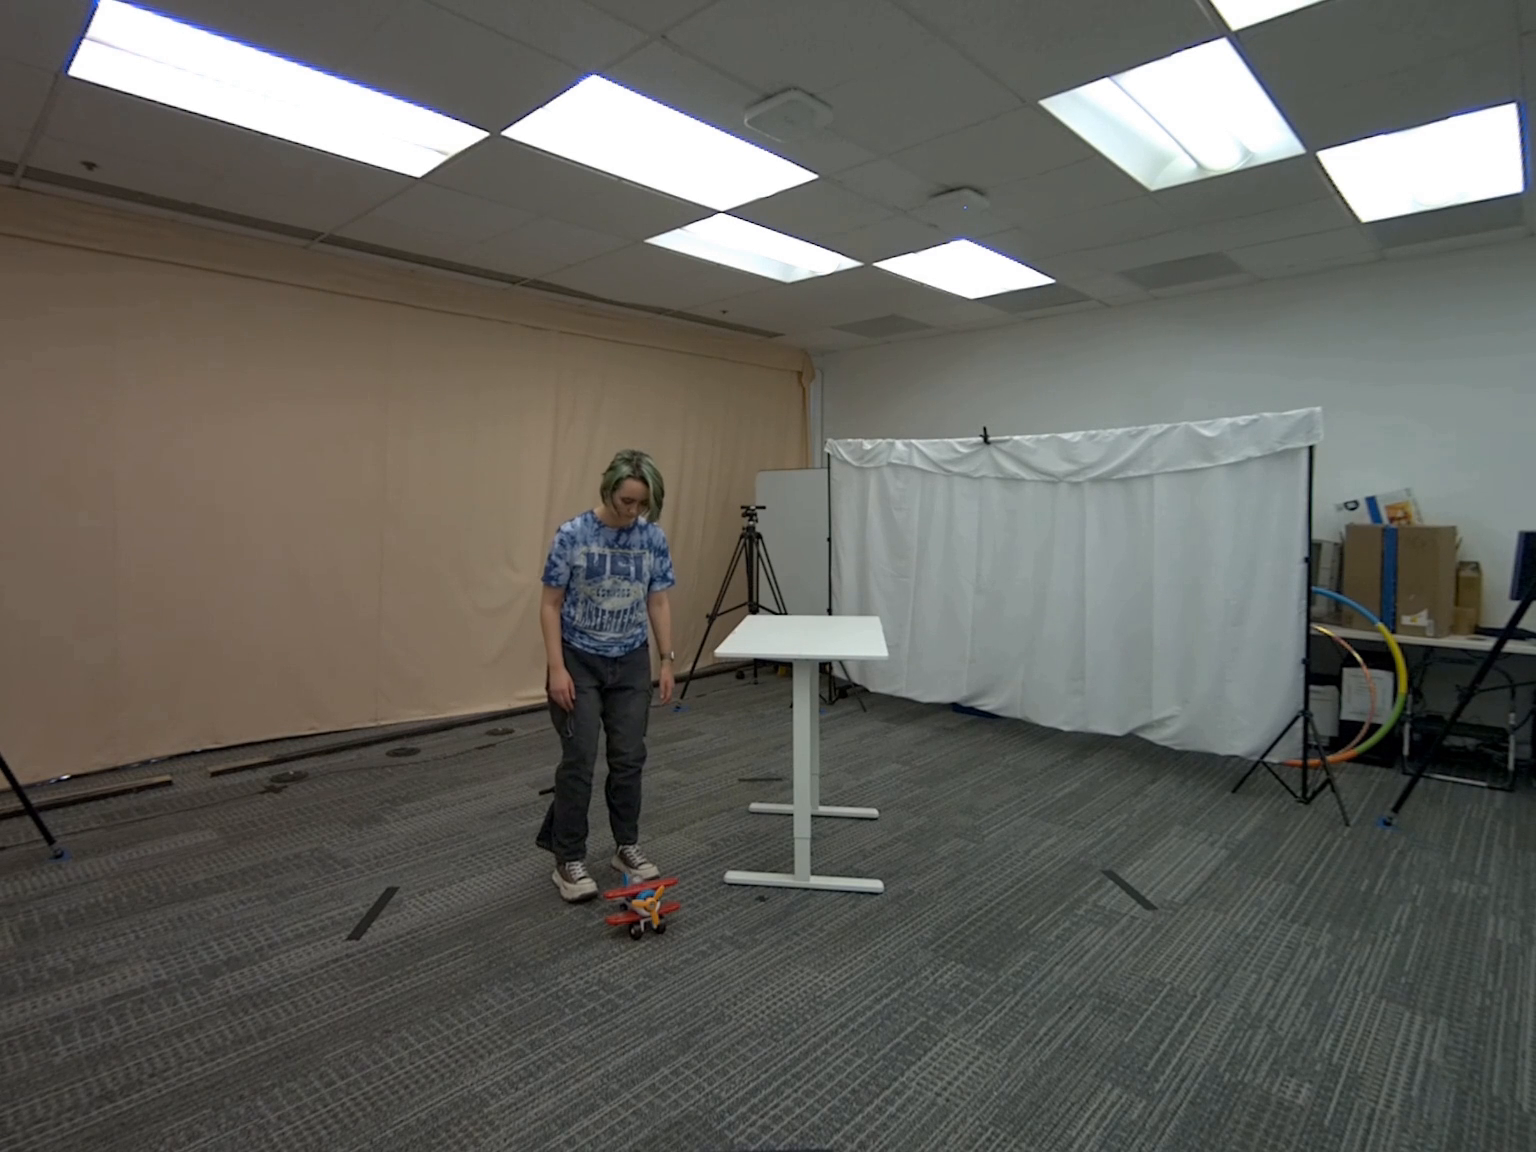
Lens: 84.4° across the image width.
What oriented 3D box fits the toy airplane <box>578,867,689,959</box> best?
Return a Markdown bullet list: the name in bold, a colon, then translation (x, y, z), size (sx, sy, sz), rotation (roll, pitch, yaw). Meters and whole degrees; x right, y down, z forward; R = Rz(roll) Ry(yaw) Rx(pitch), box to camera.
- **toy airplane**: translation (-0.443, 1.087, 2.792), size (0.267, 0.156, 0.244), rotation (4, 7, 33)
